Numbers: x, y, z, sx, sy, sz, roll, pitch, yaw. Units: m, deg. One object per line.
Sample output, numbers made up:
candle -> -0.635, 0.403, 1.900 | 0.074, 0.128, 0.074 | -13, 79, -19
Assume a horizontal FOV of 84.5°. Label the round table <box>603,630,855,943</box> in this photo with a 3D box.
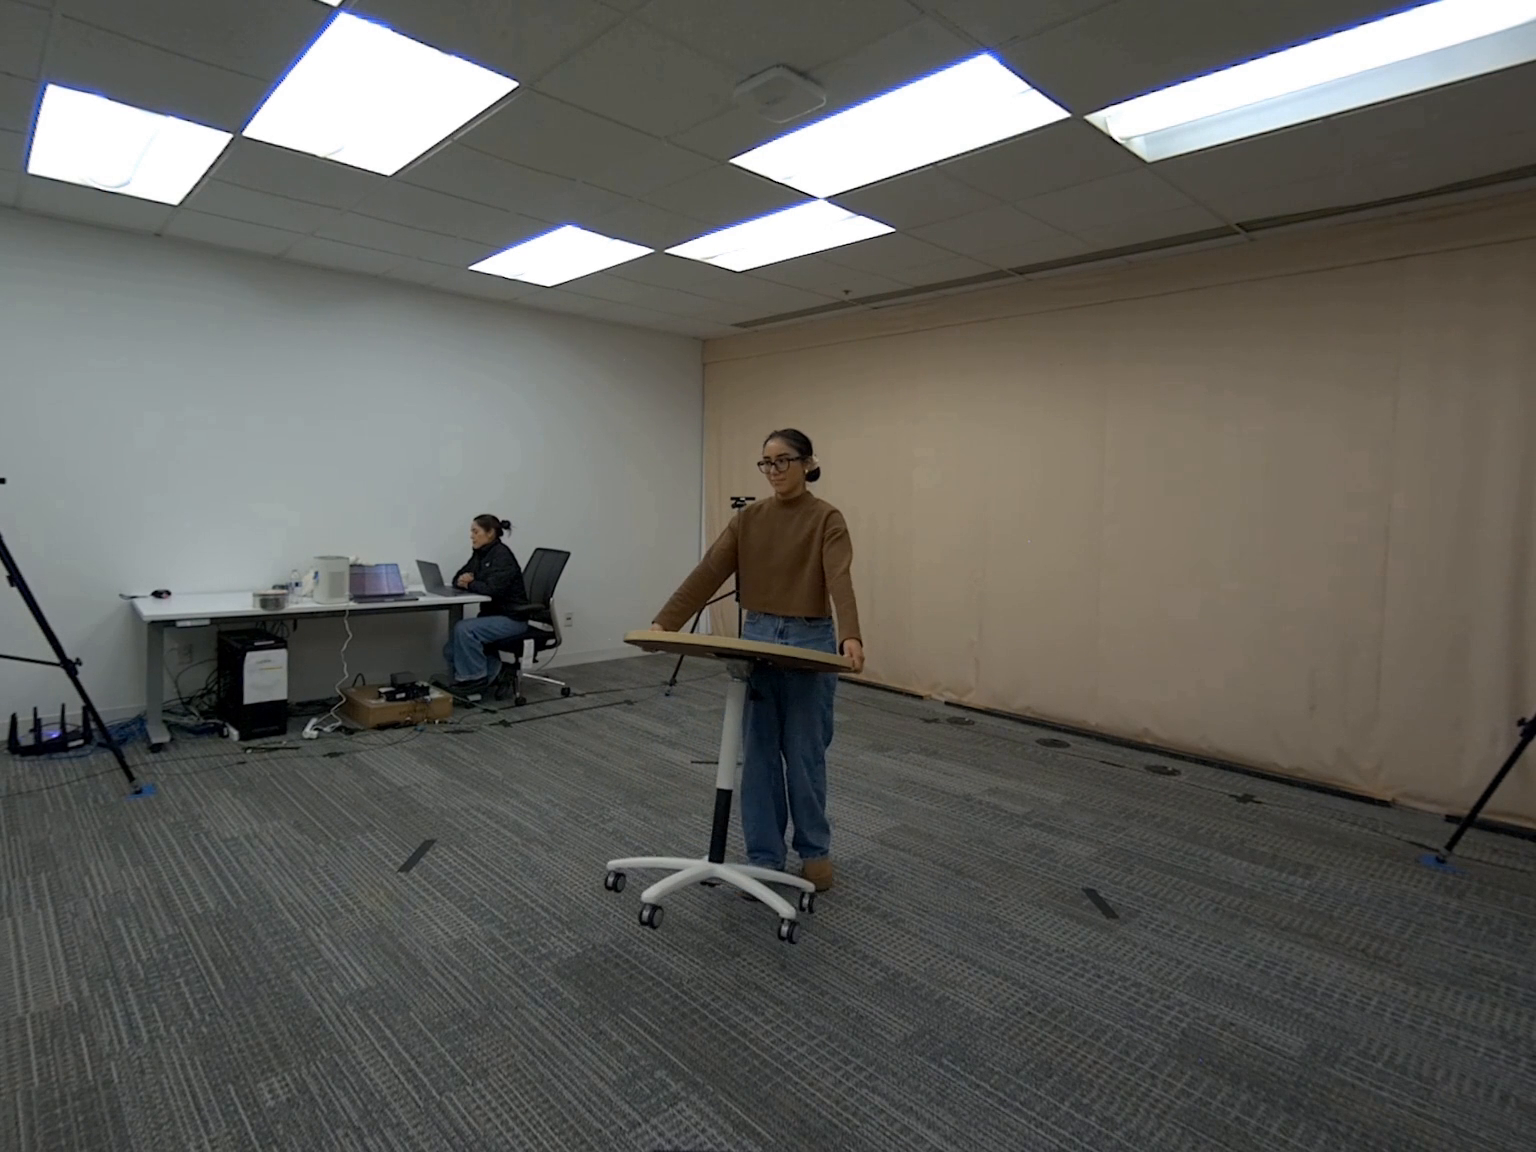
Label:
round table -> -0.128, 0.634, 2.628 | 0.785, 0.791, 0.780 | 6, -9, 0
